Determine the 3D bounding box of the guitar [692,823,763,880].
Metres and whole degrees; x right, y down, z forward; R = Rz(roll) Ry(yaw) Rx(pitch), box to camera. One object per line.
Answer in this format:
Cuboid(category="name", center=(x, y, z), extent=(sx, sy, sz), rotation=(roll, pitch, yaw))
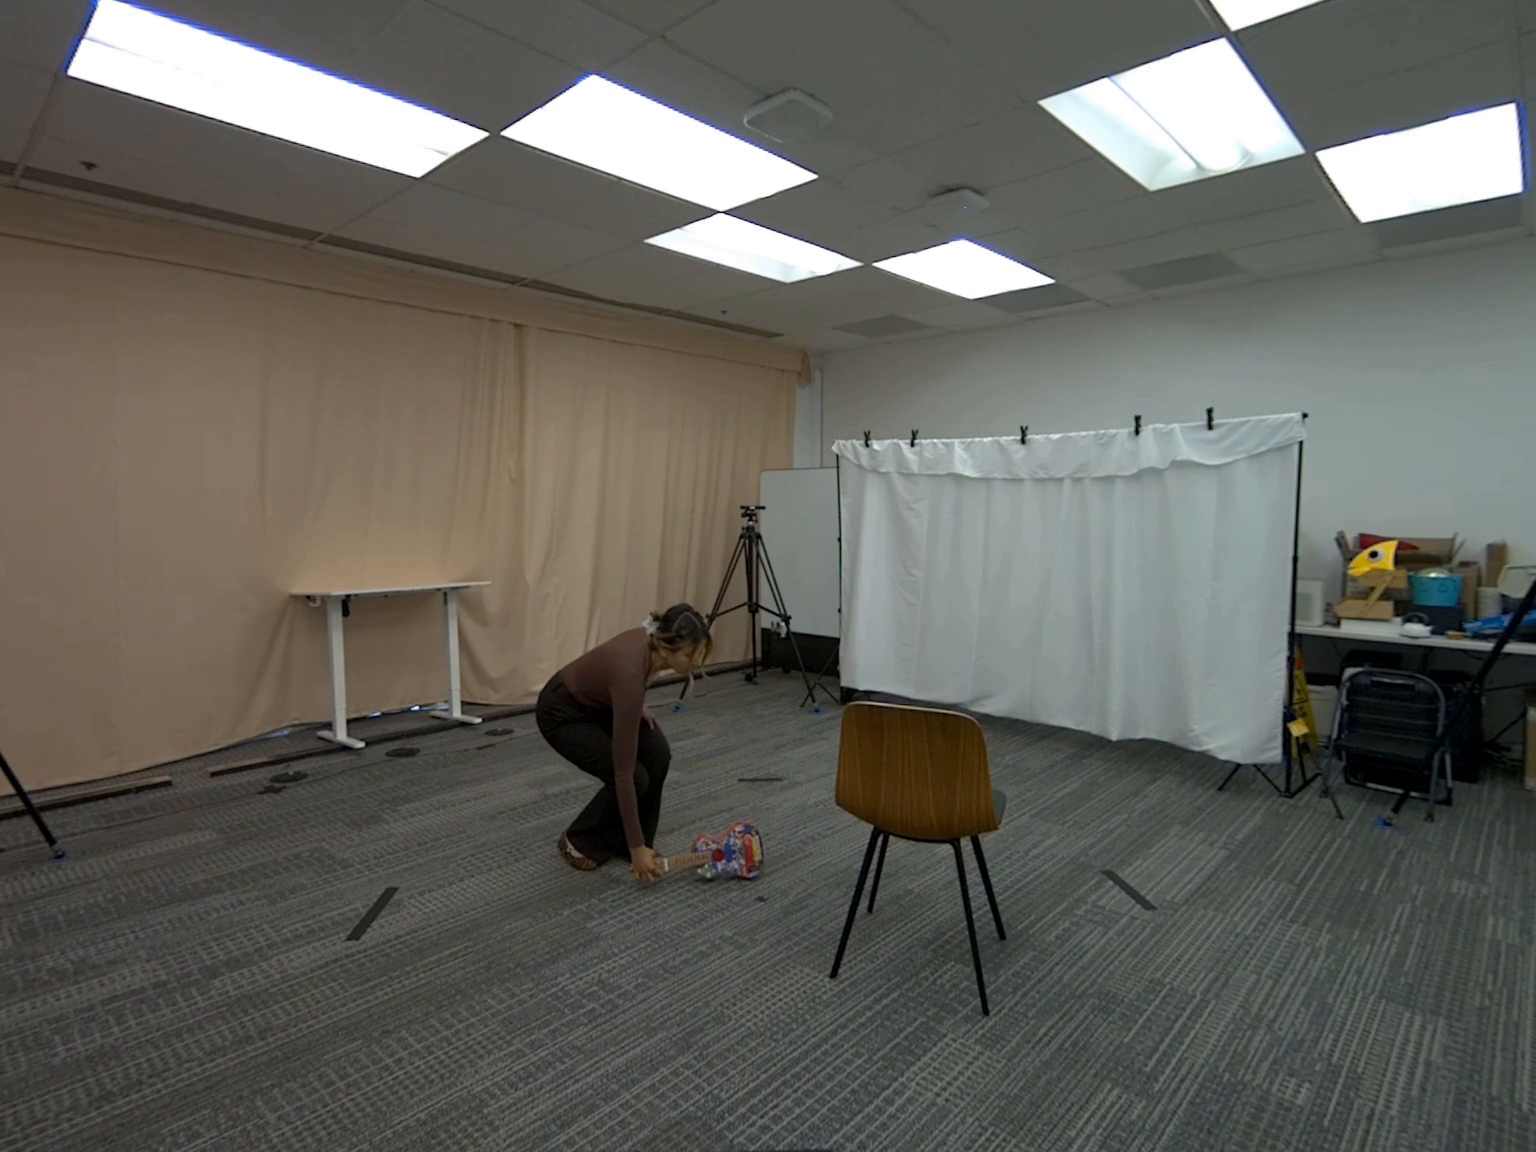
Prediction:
Cuboid(category="guitar", center=(-0.264, 1.022, 3.132), extent=(0.493, 0.194, 0.071), rotation=(3, -10, -8))
